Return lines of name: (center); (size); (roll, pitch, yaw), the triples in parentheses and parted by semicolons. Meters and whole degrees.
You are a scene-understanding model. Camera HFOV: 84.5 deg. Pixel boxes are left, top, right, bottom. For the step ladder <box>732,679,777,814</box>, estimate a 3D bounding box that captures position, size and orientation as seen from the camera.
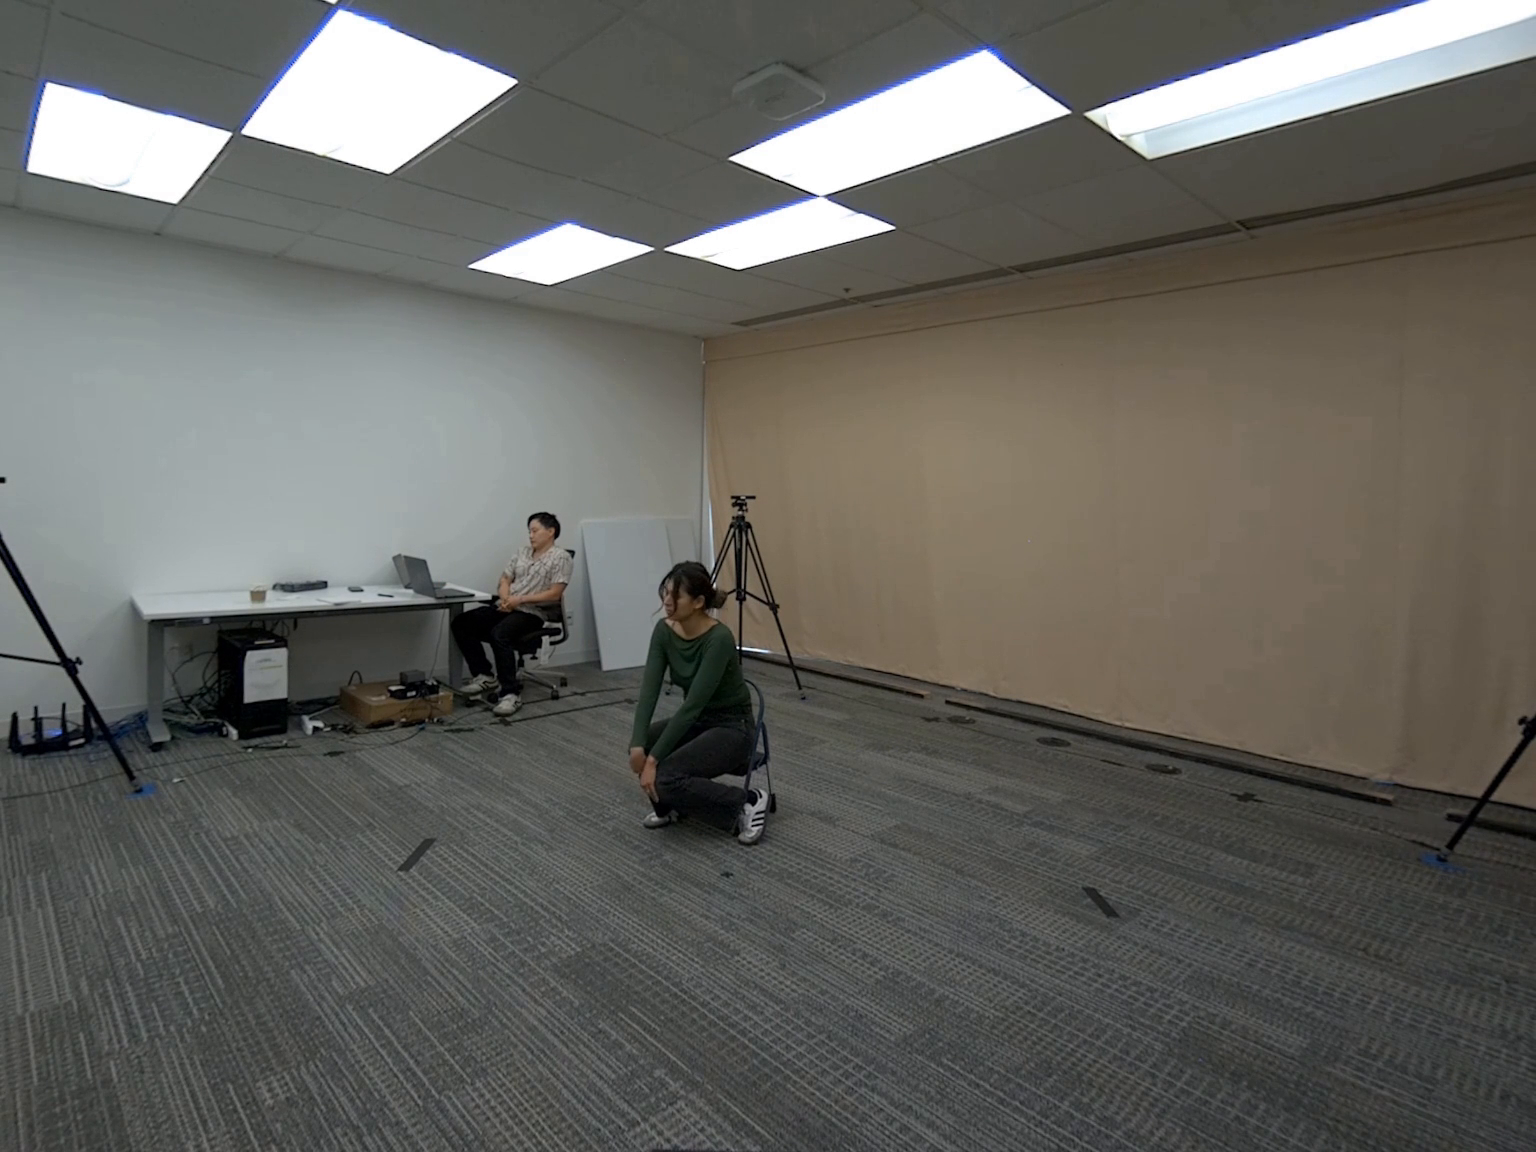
step ladder: (-0.218, 0.750, 3.700); (0.440, 0.605, 0.342); (4, 4, 30)
